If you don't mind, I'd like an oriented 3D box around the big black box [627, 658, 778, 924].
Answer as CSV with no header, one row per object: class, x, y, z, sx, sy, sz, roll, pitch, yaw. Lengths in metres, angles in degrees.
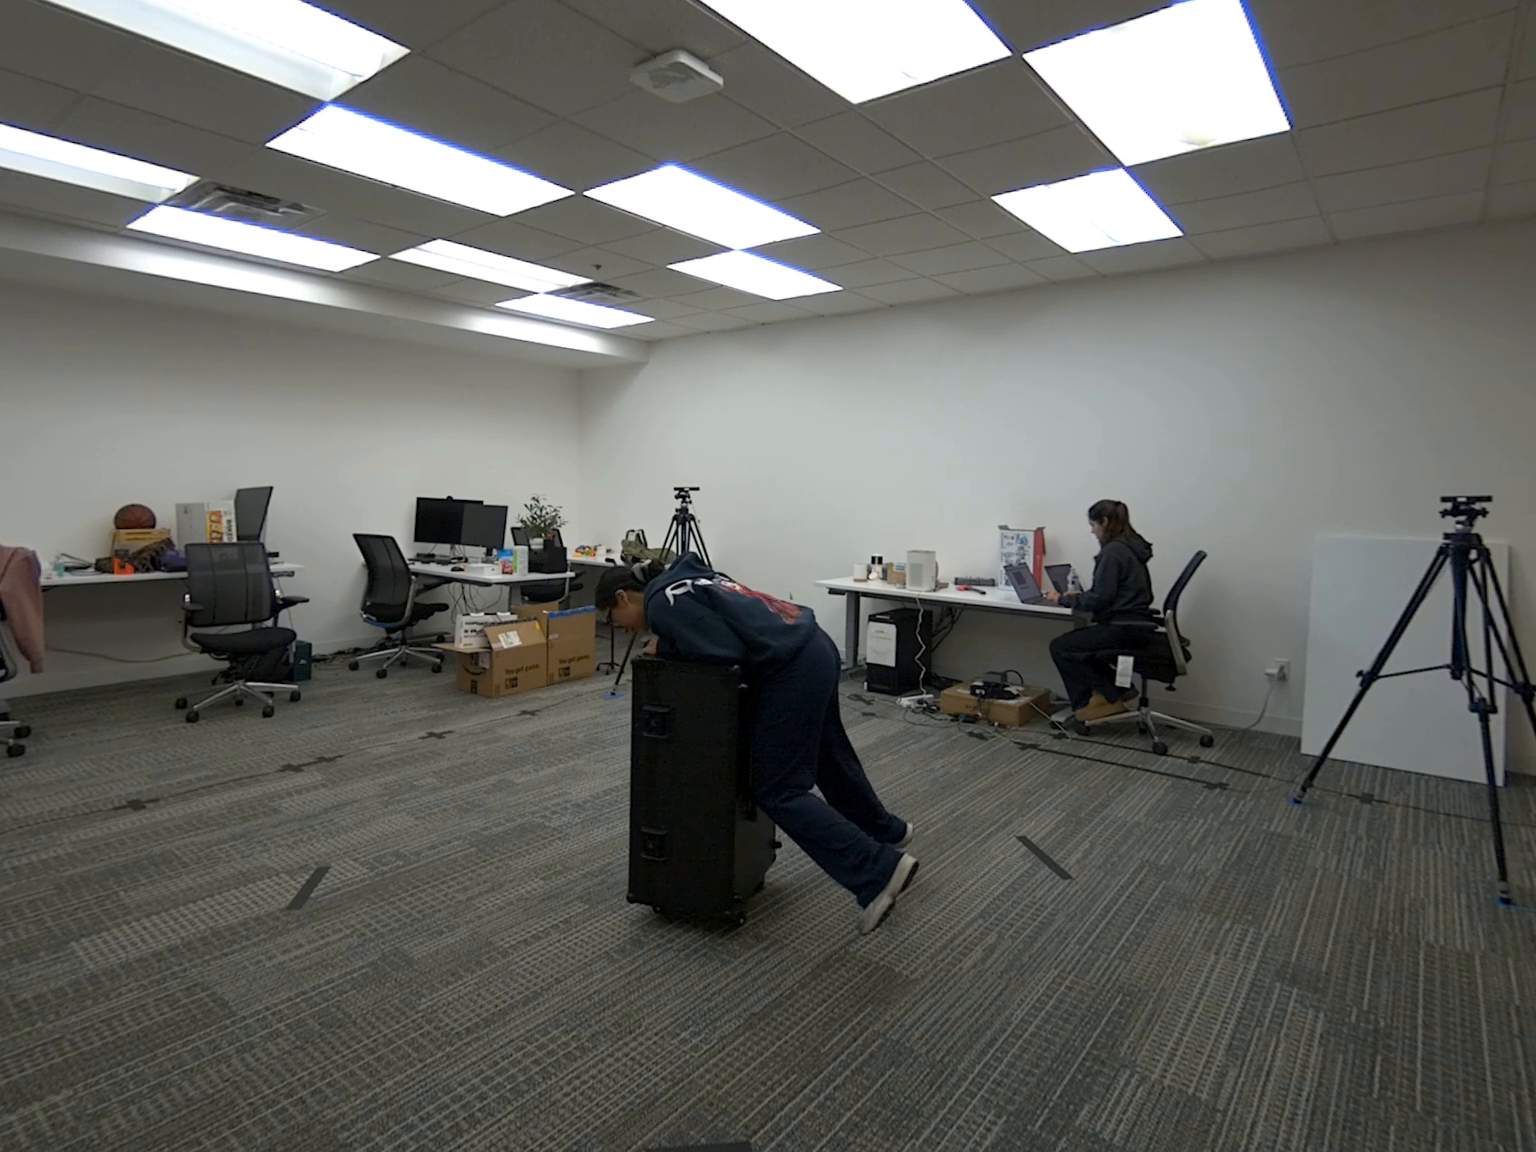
big black box,-0.196,0.672,2.852,0.404,0.859,0.512,2,3,17
